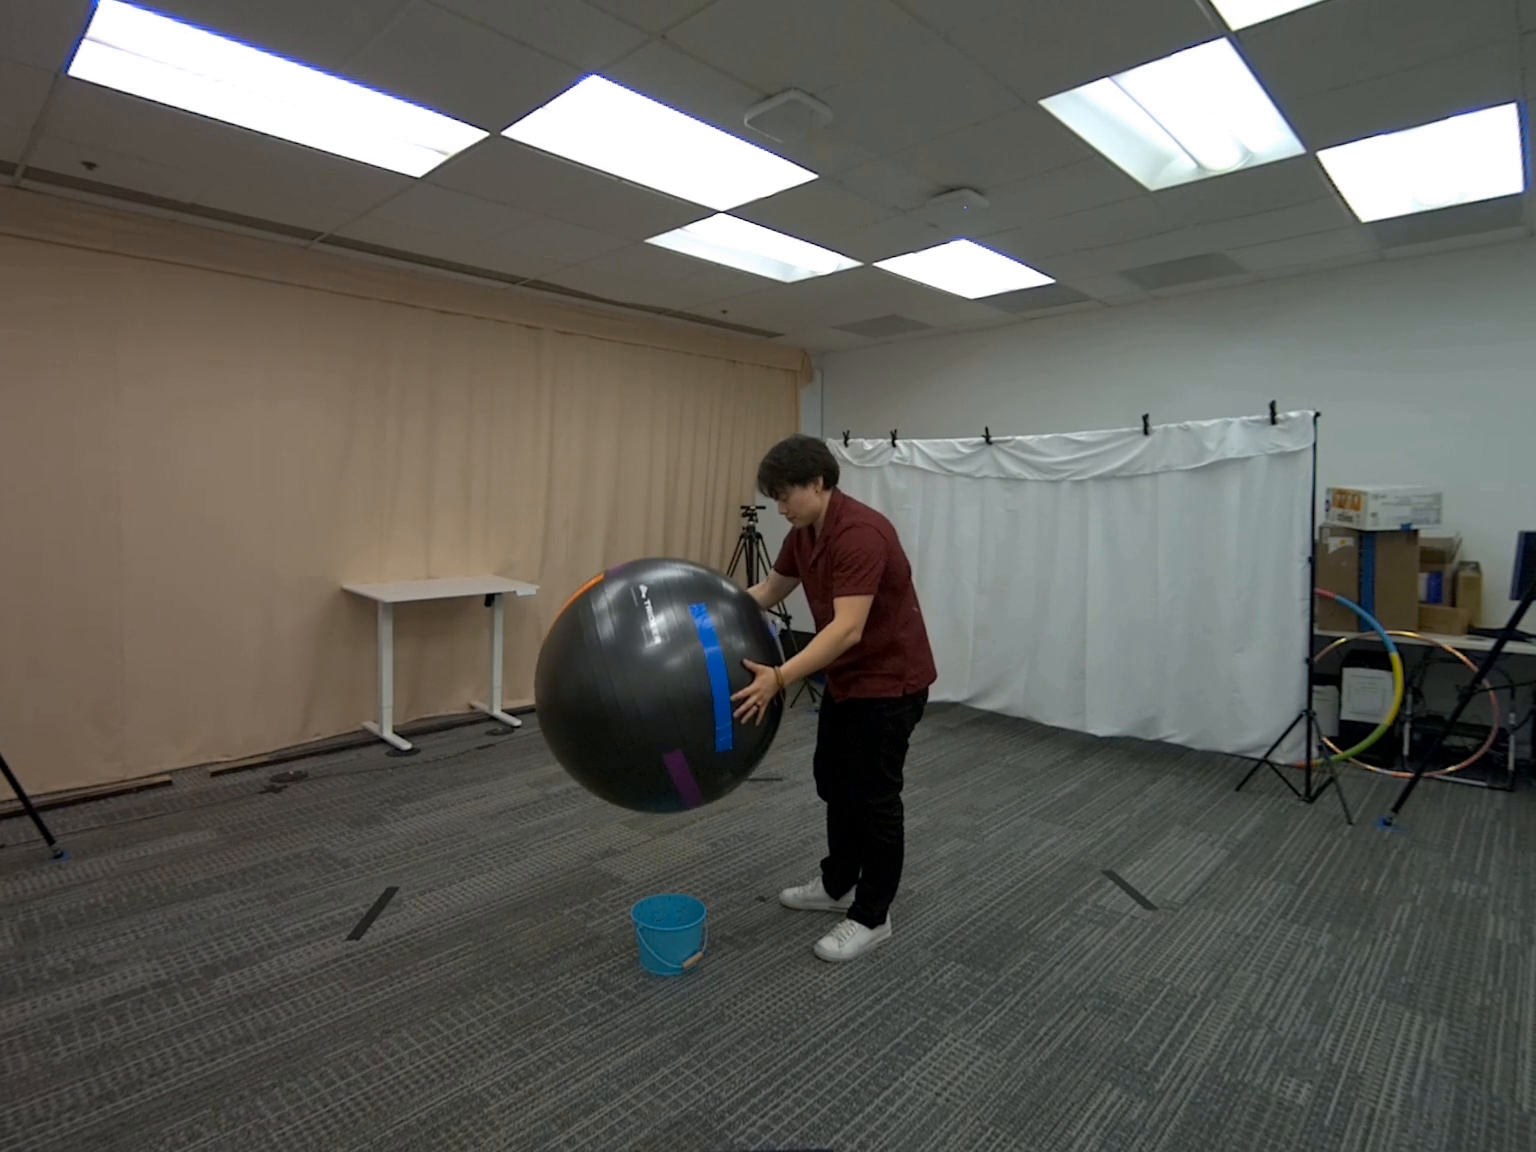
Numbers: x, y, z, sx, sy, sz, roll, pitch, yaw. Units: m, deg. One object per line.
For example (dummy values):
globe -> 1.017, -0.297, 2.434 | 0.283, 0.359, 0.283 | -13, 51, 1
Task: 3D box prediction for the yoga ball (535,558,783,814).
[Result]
yoga ball -> -0.324, 0.326, 2.560 | 0.757, 0.756, 0.760 | 0, 4, -2
